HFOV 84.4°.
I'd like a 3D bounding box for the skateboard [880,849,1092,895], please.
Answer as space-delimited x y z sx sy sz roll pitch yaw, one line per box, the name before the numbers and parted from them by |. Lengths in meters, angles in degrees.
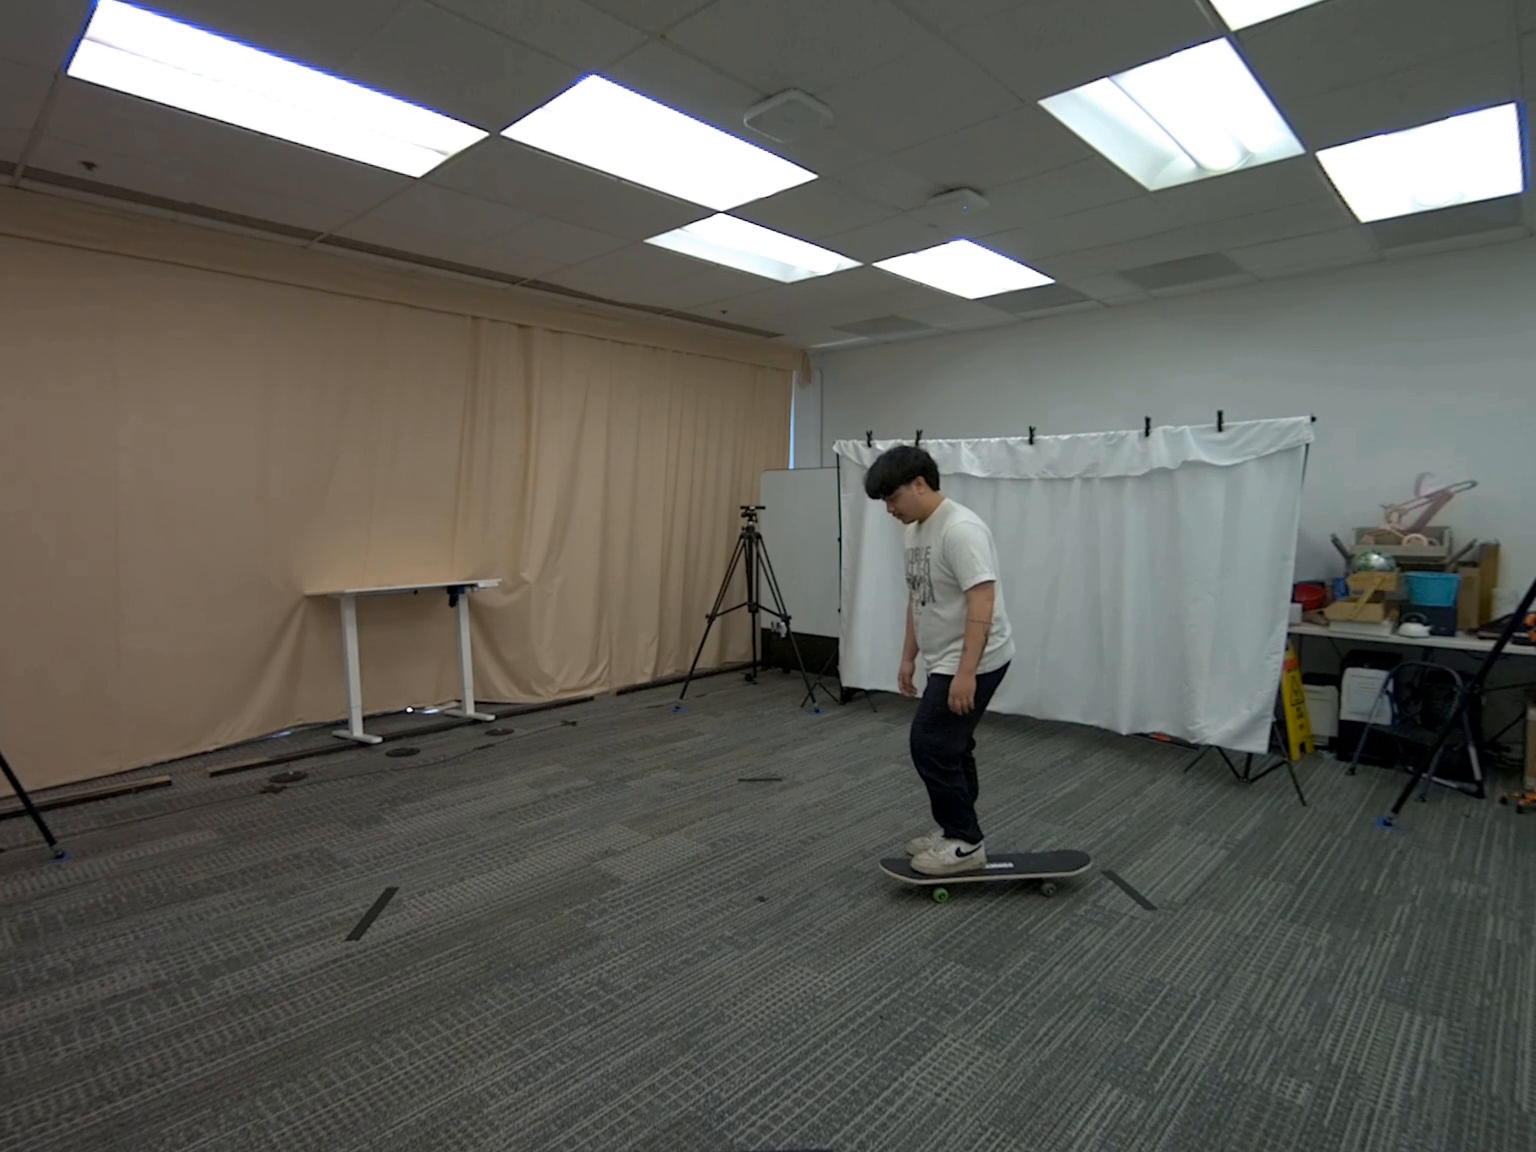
skateboard | 0.787 1.078 3.053 0.779 0.110 0.195 -1 3 -7
